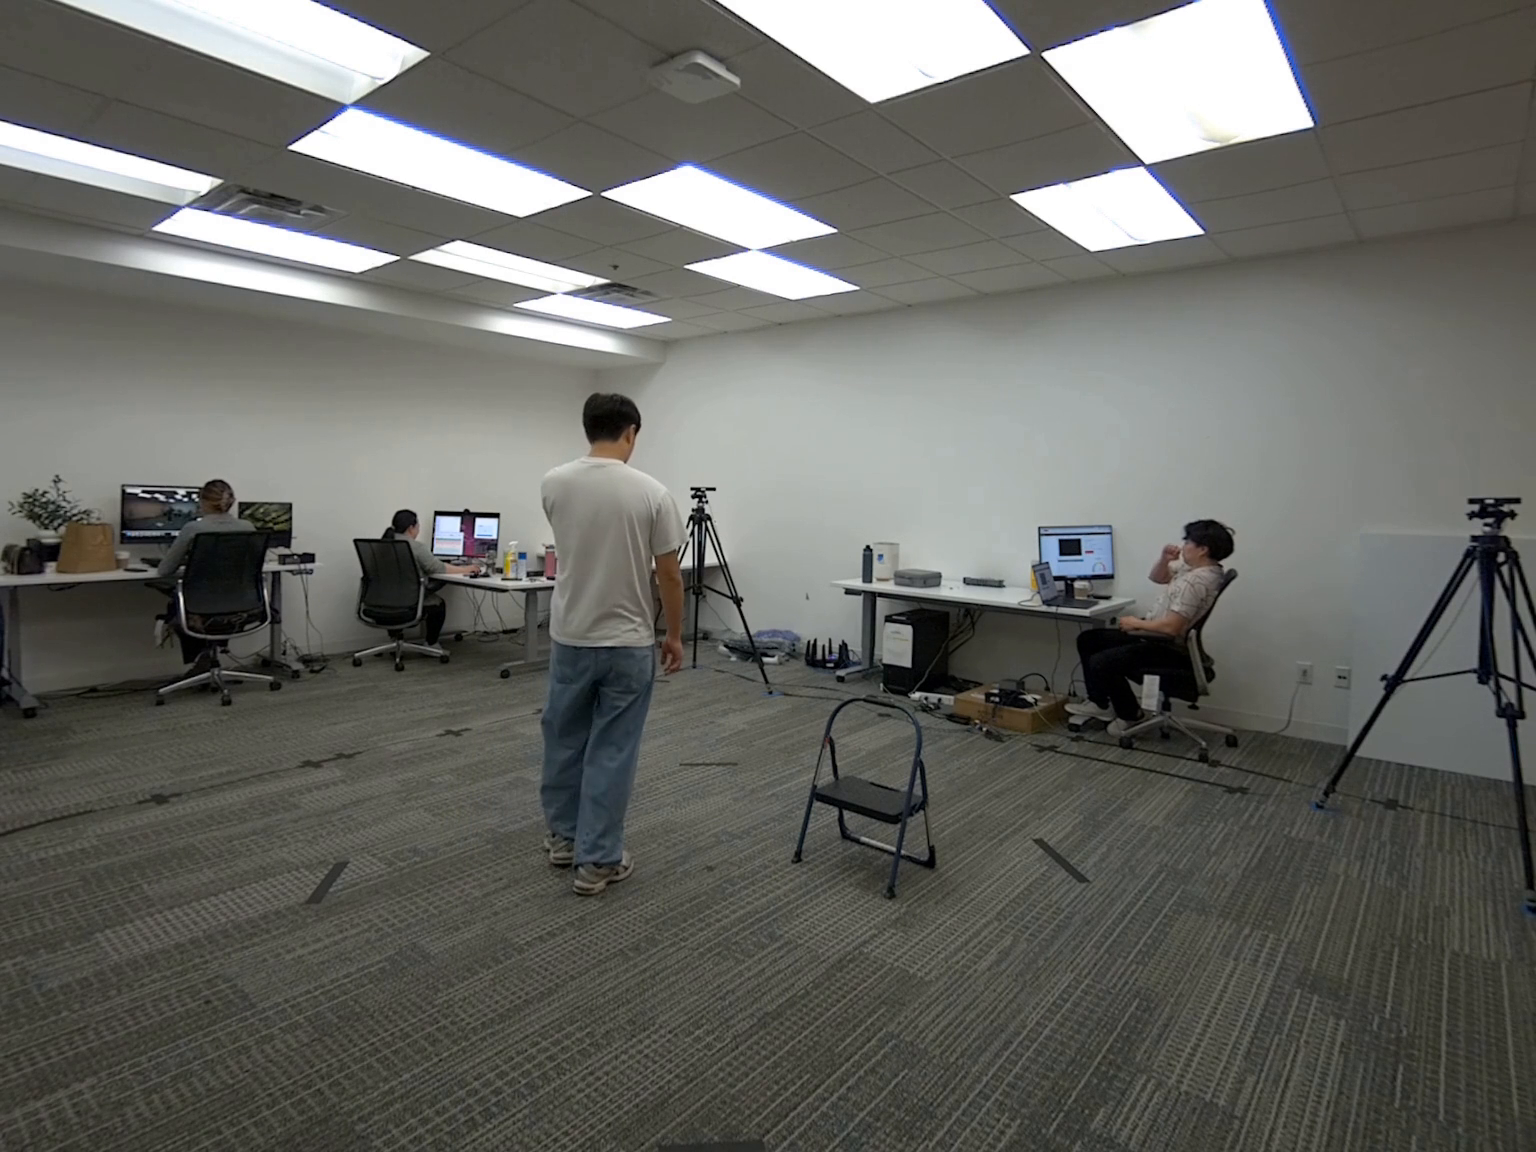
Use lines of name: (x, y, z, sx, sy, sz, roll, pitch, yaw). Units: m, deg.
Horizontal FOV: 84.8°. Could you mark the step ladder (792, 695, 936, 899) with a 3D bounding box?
step ladder: (0.362, 0.774, 3.153, 0.445, 0.604, 0.339, 5, 5, 39)
